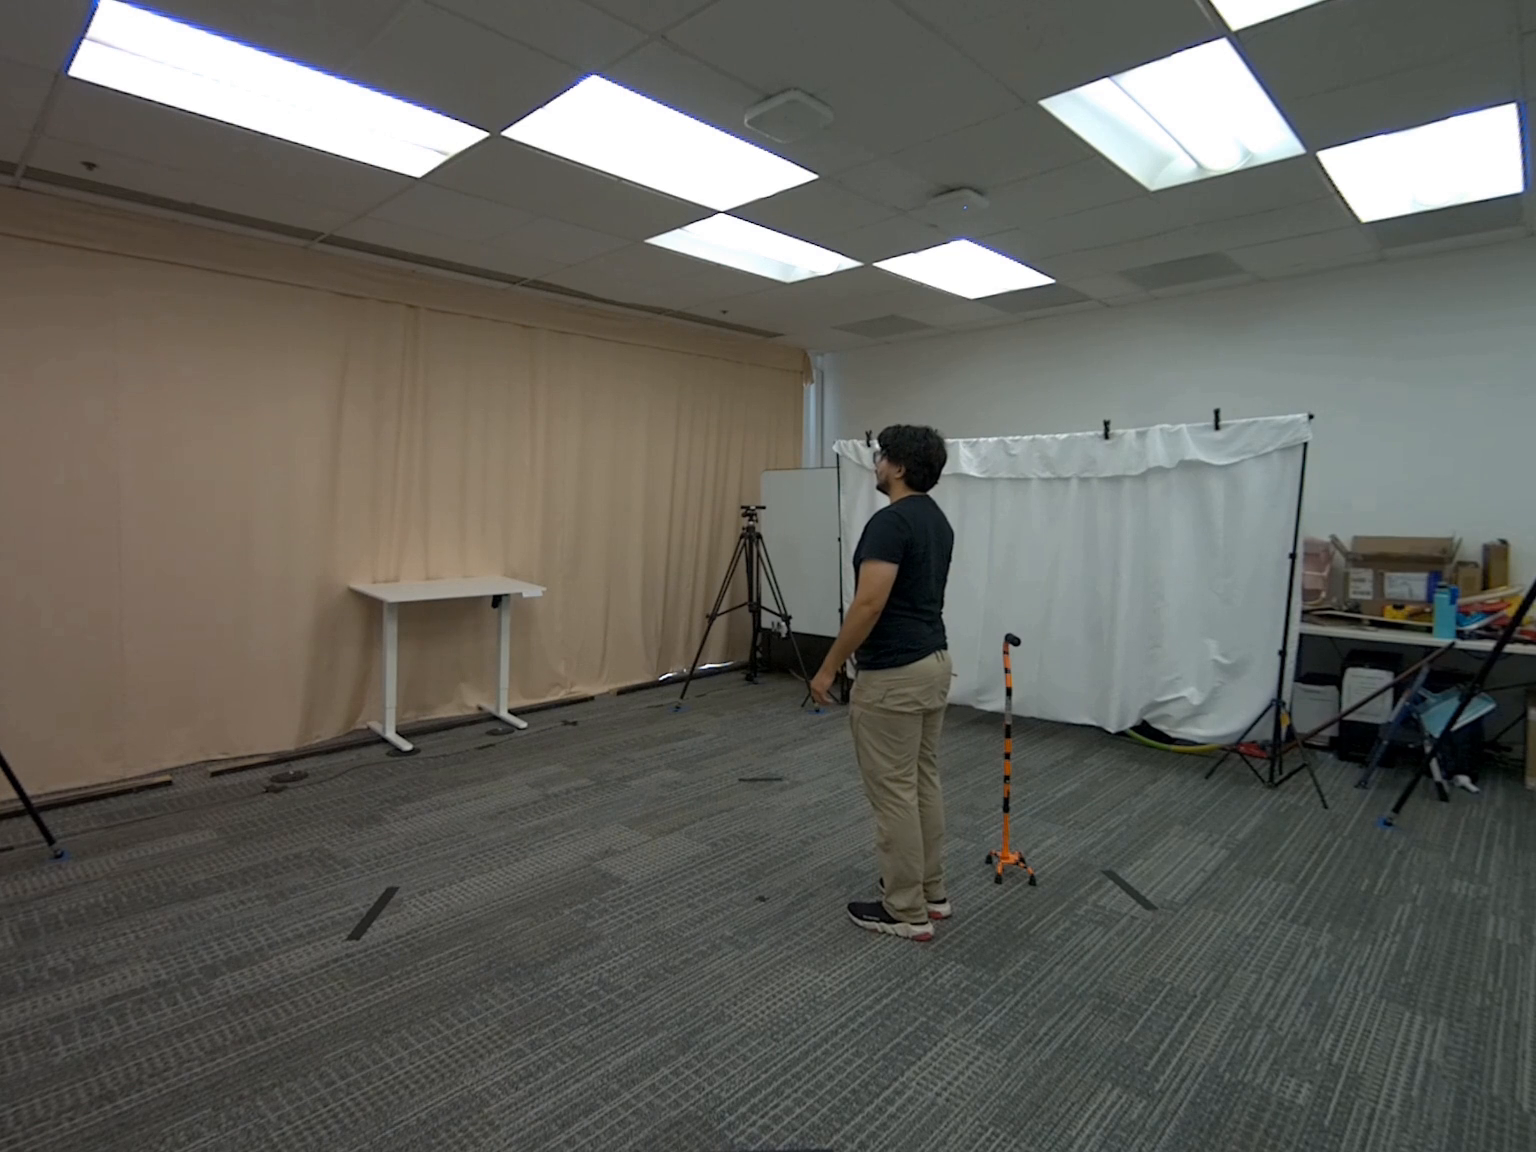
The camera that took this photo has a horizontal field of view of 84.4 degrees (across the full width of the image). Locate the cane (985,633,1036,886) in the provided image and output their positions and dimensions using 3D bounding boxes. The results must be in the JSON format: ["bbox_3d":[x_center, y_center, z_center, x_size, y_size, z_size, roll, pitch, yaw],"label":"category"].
[{"bbox_3d":[0.930,0.678,3.162,0.152,0.906,0.206,1,3,4],"label":"cane"}]
